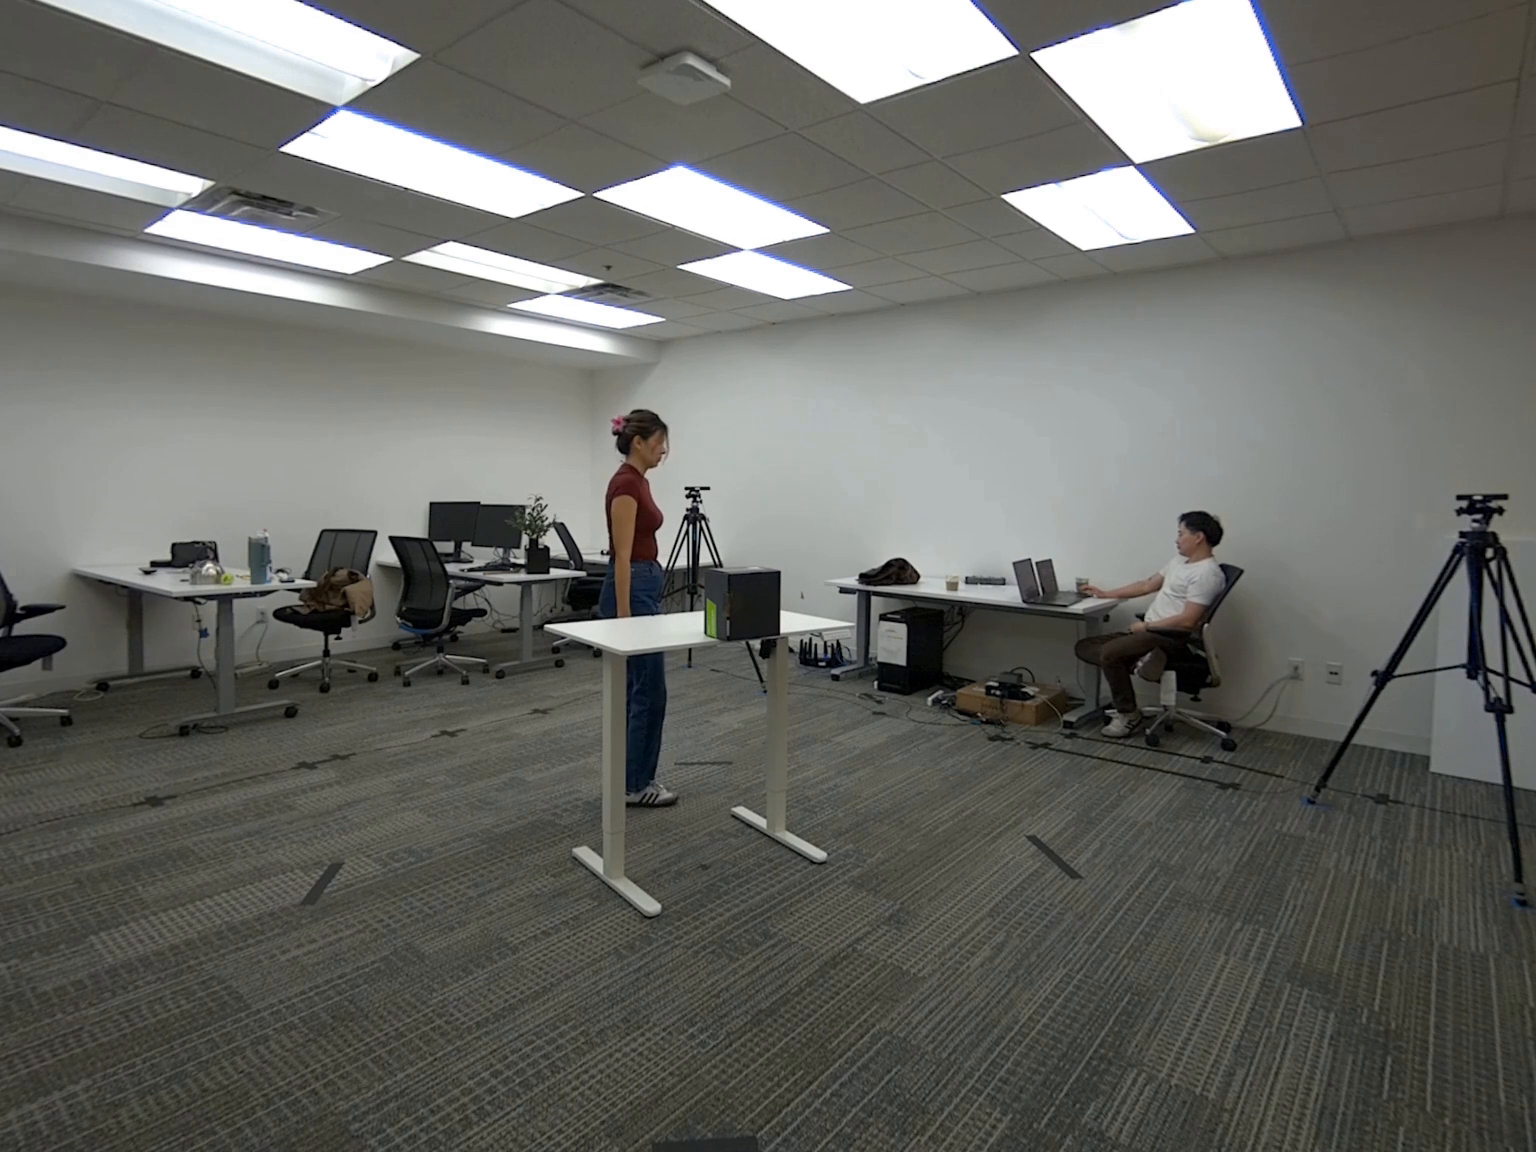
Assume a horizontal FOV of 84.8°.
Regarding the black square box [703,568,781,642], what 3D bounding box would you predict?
[{"bbox_3d":[-0.098,0.088,2.901,0.211,0.227,0.161,-2,4,-36],"label":"black square box"}]
